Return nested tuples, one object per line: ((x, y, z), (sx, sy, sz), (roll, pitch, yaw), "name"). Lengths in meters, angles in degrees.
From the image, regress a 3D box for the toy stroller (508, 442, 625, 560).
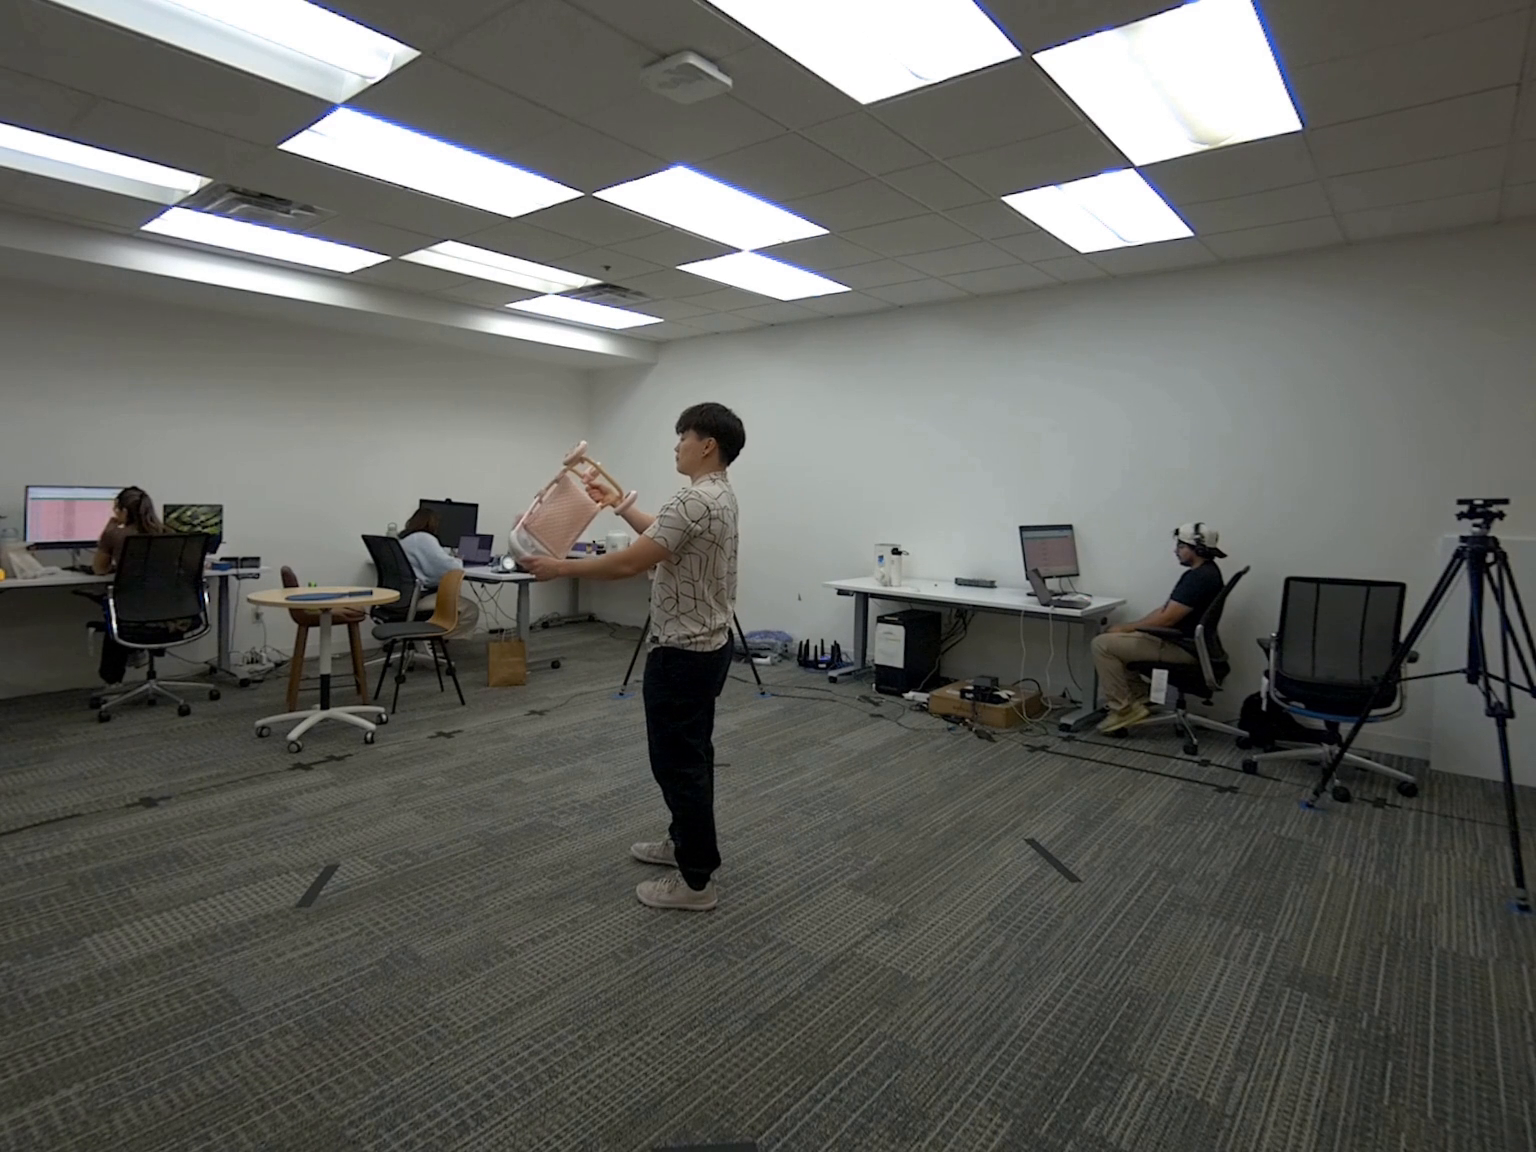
((-0.736, -0.235, 3.012), (0.273, 0.536, 0.350), (46, -23, -23), "toy stroller")
